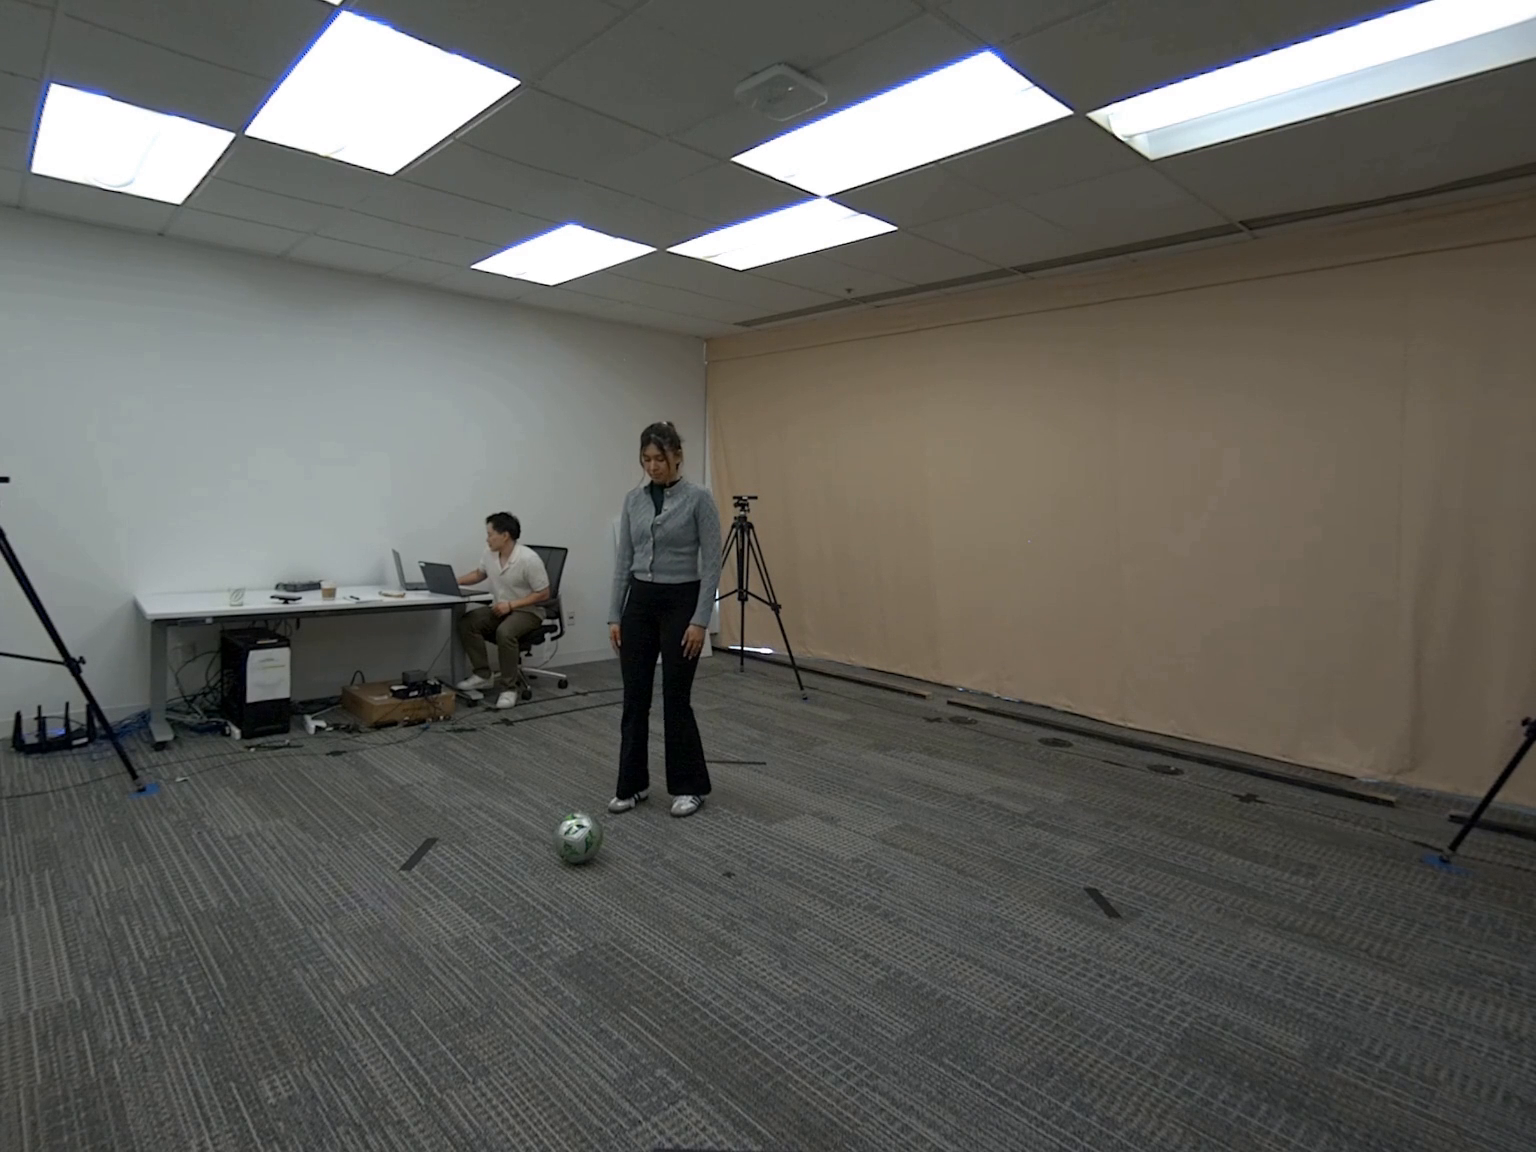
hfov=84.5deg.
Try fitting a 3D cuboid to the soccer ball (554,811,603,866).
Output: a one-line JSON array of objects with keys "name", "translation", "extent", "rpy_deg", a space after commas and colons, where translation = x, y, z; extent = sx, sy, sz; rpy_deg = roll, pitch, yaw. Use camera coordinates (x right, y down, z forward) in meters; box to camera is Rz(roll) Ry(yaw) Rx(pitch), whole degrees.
[{"name": "soccer ball", "translation": [-0.737, 0.989, 3.170], "extent": [0.187, 0.187, 0.188], "rpy_deg": [1, 4, -1]}]
